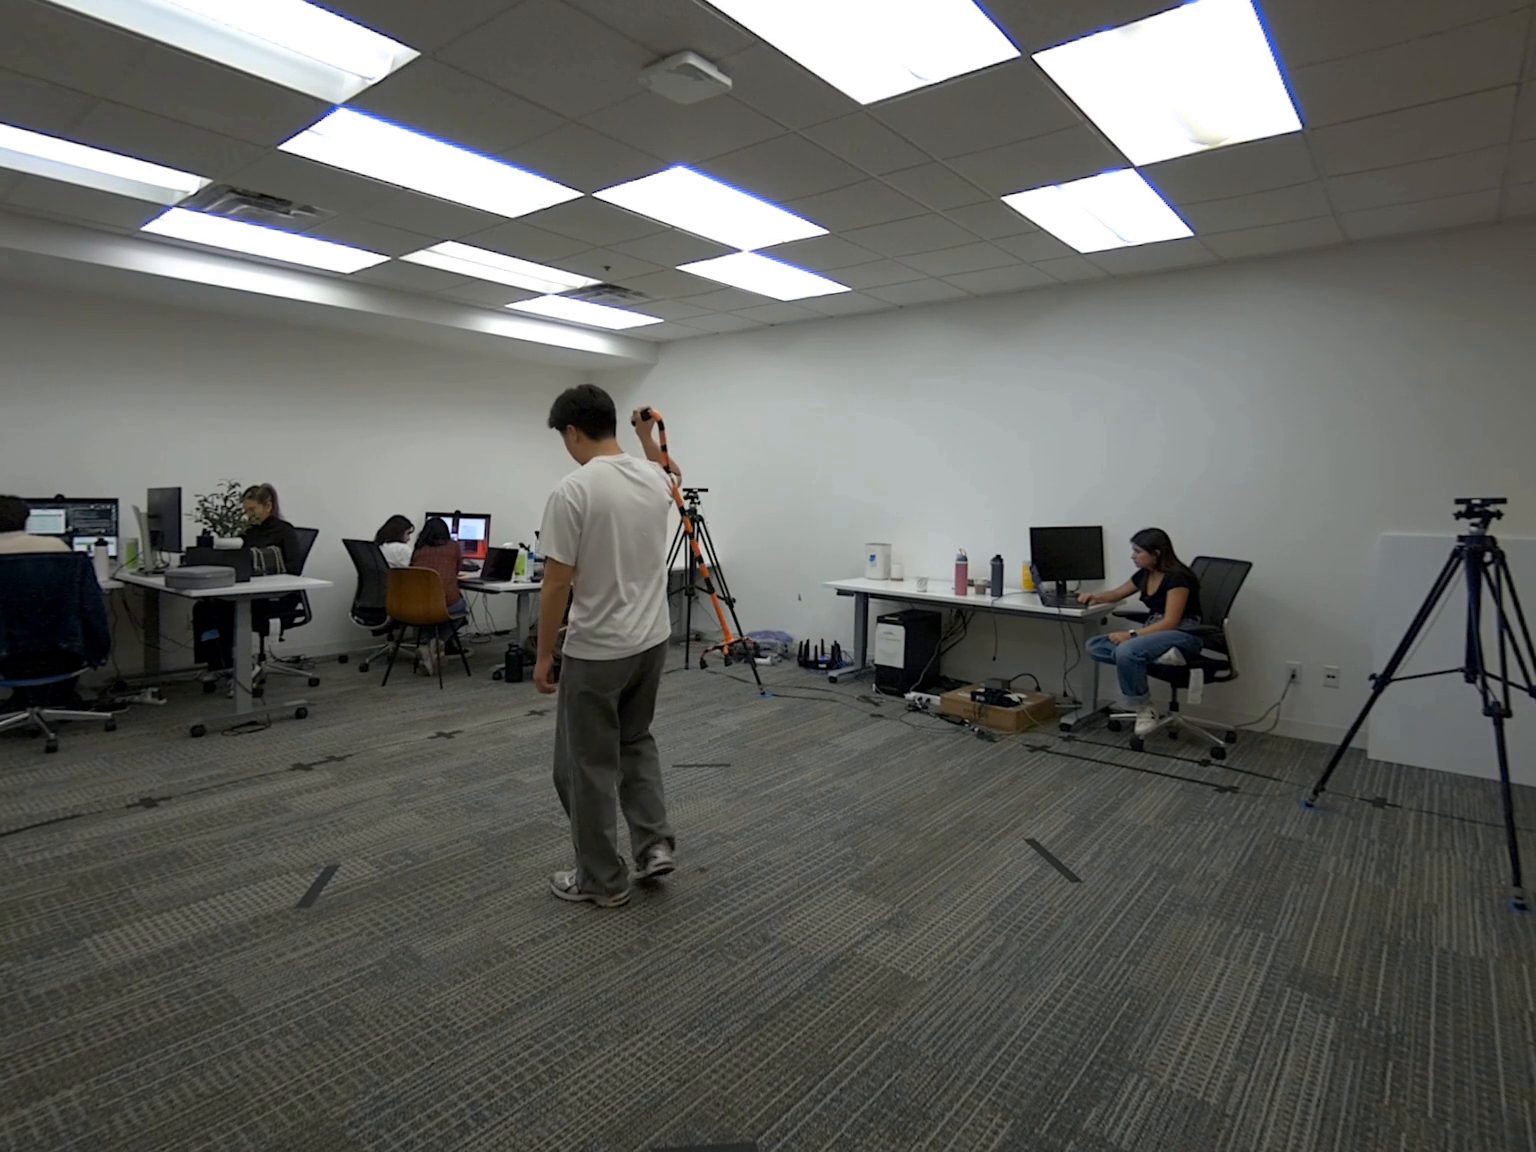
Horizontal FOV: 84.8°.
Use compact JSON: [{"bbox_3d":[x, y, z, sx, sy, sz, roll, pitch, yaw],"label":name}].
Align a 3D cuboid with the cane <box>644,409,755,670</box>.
[{"bbox_3d":[-0.275,-0.156,2.927,0.149,0.910,0.210,-19,-2,-34],"label":"cane"}]
